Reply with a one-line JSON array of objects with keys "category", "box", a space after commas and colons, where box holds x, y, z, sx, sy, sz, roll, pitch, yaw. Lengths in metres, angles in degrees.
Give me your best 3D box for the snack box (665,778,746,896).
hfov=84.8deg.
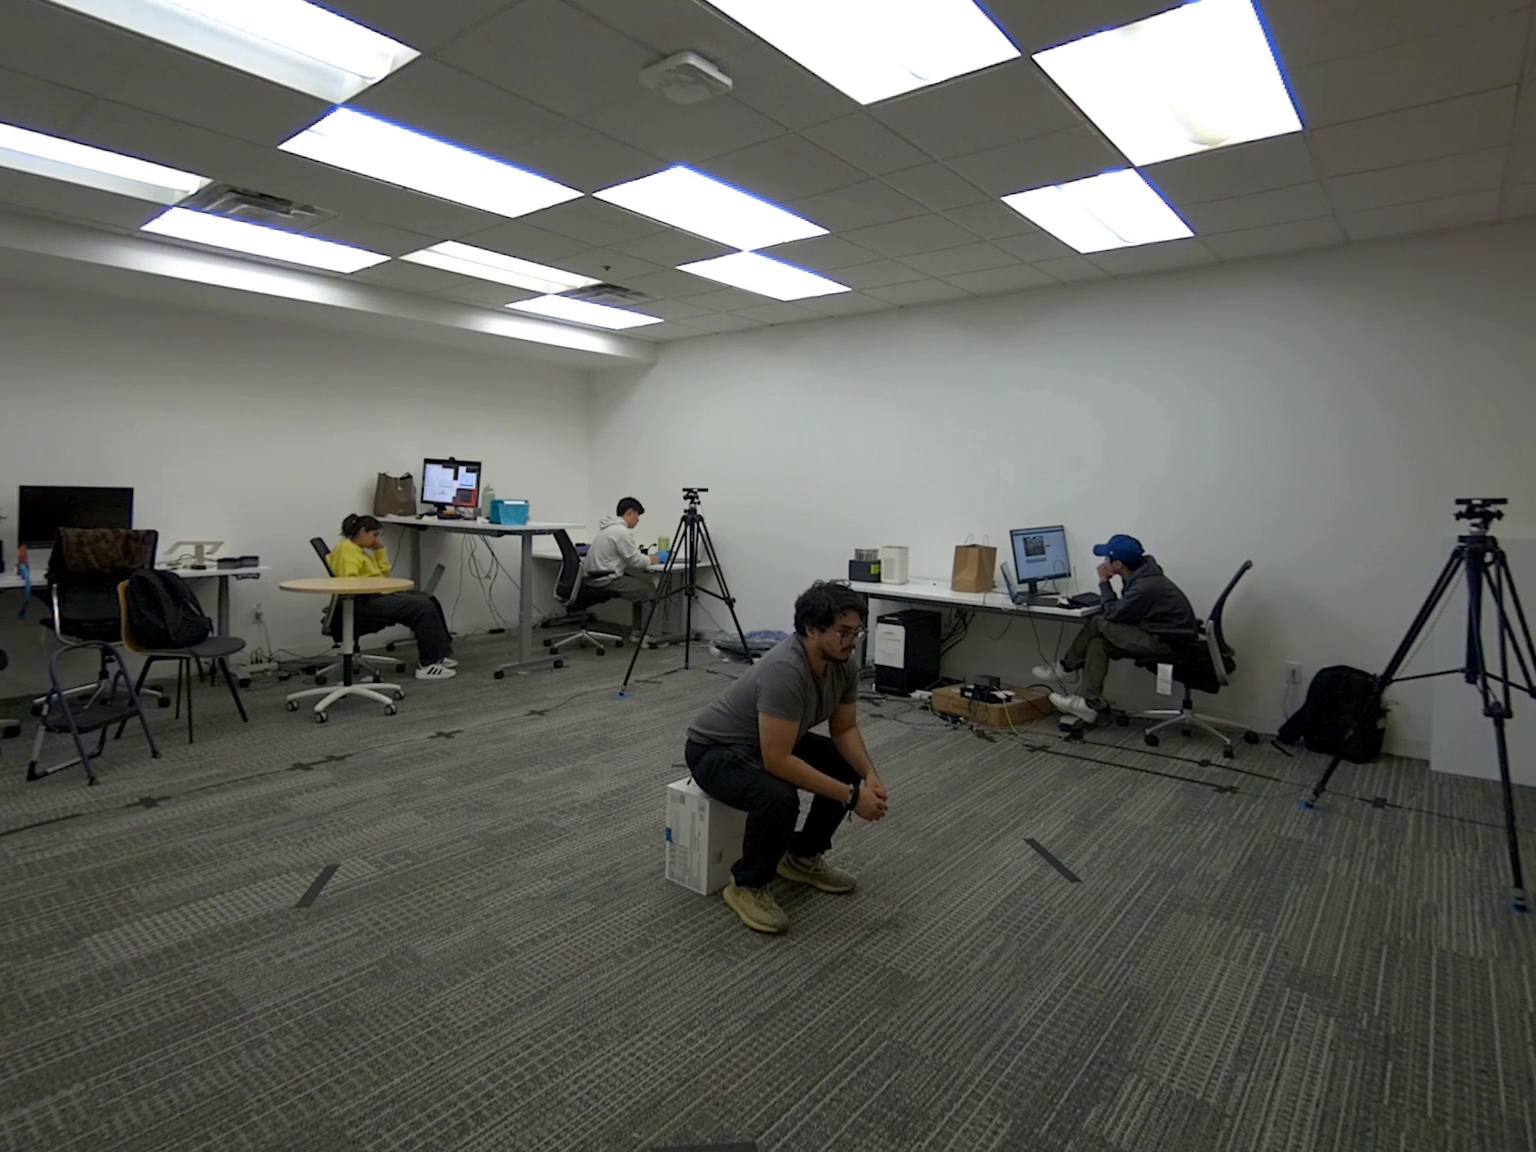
[{"category": "snack box", "box": [-0.172, 0.903, 3.108, 0.212, 0.339, 0.393, 5, 6, 39]}]
